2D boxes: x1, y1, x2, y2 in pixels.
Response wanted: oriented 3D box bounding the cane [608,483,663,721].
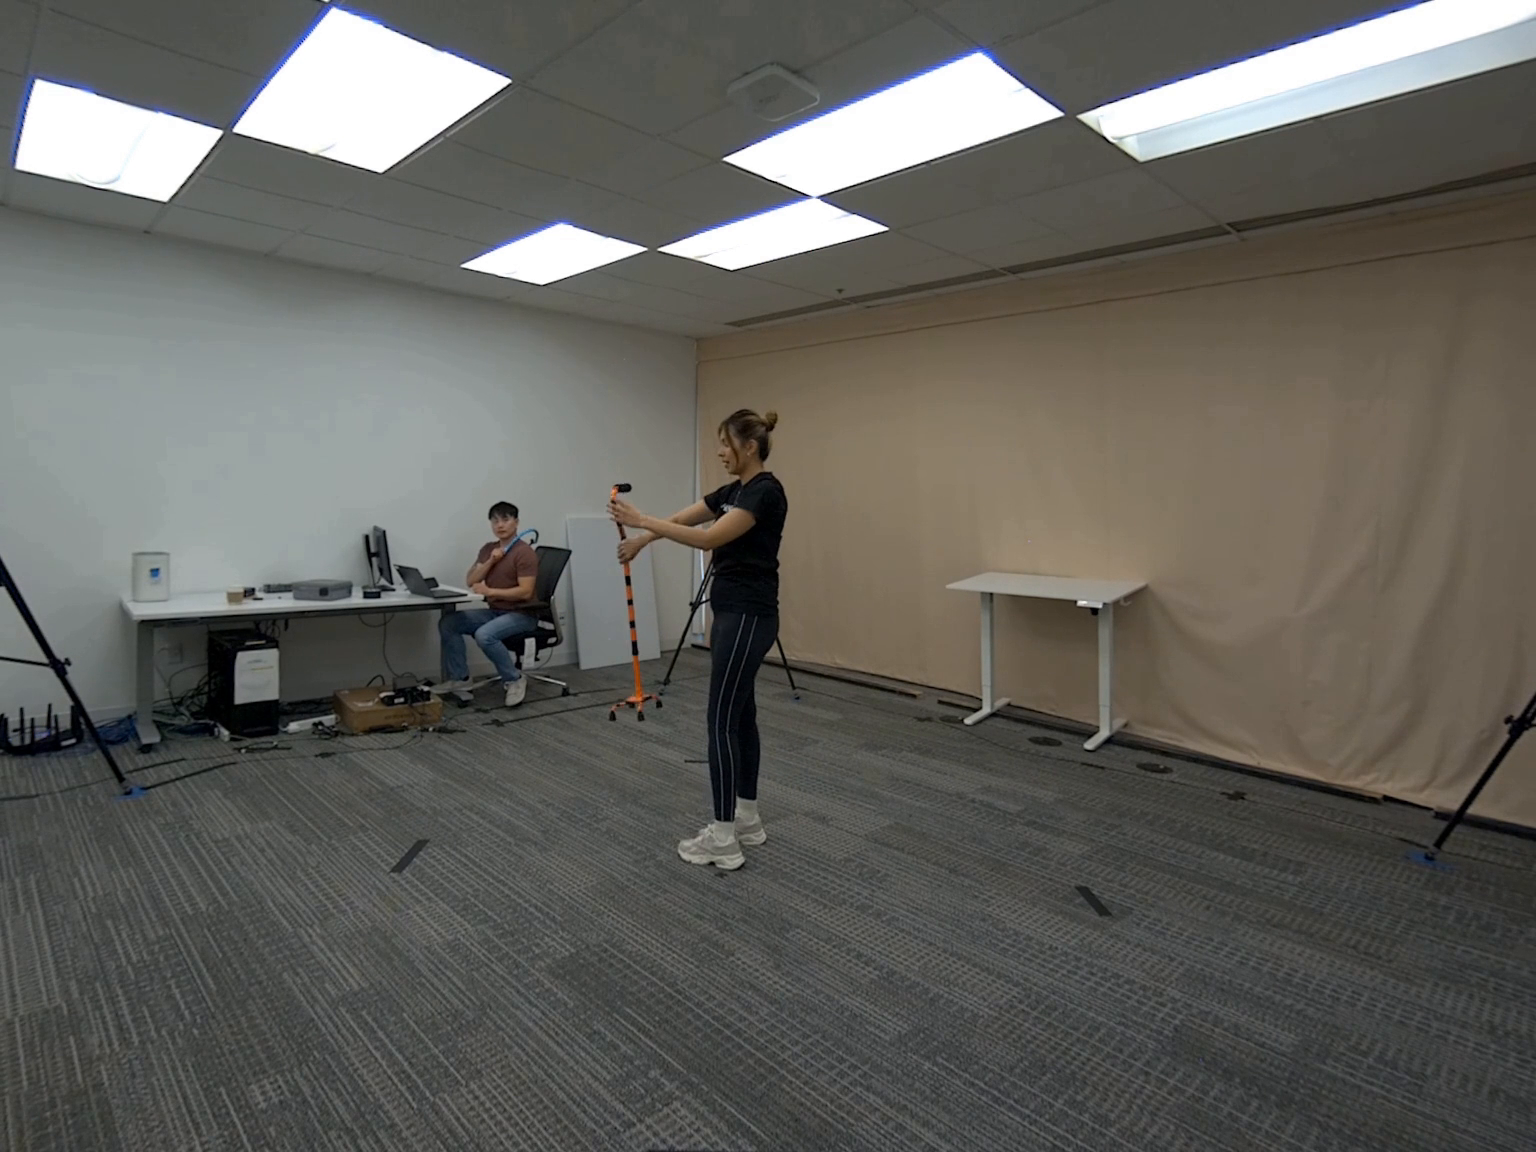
[{"bbox_3d":[-0.563,0.101,3.294,0.153,0.904,0.204,-4,5,18],"label":"cane"}]
